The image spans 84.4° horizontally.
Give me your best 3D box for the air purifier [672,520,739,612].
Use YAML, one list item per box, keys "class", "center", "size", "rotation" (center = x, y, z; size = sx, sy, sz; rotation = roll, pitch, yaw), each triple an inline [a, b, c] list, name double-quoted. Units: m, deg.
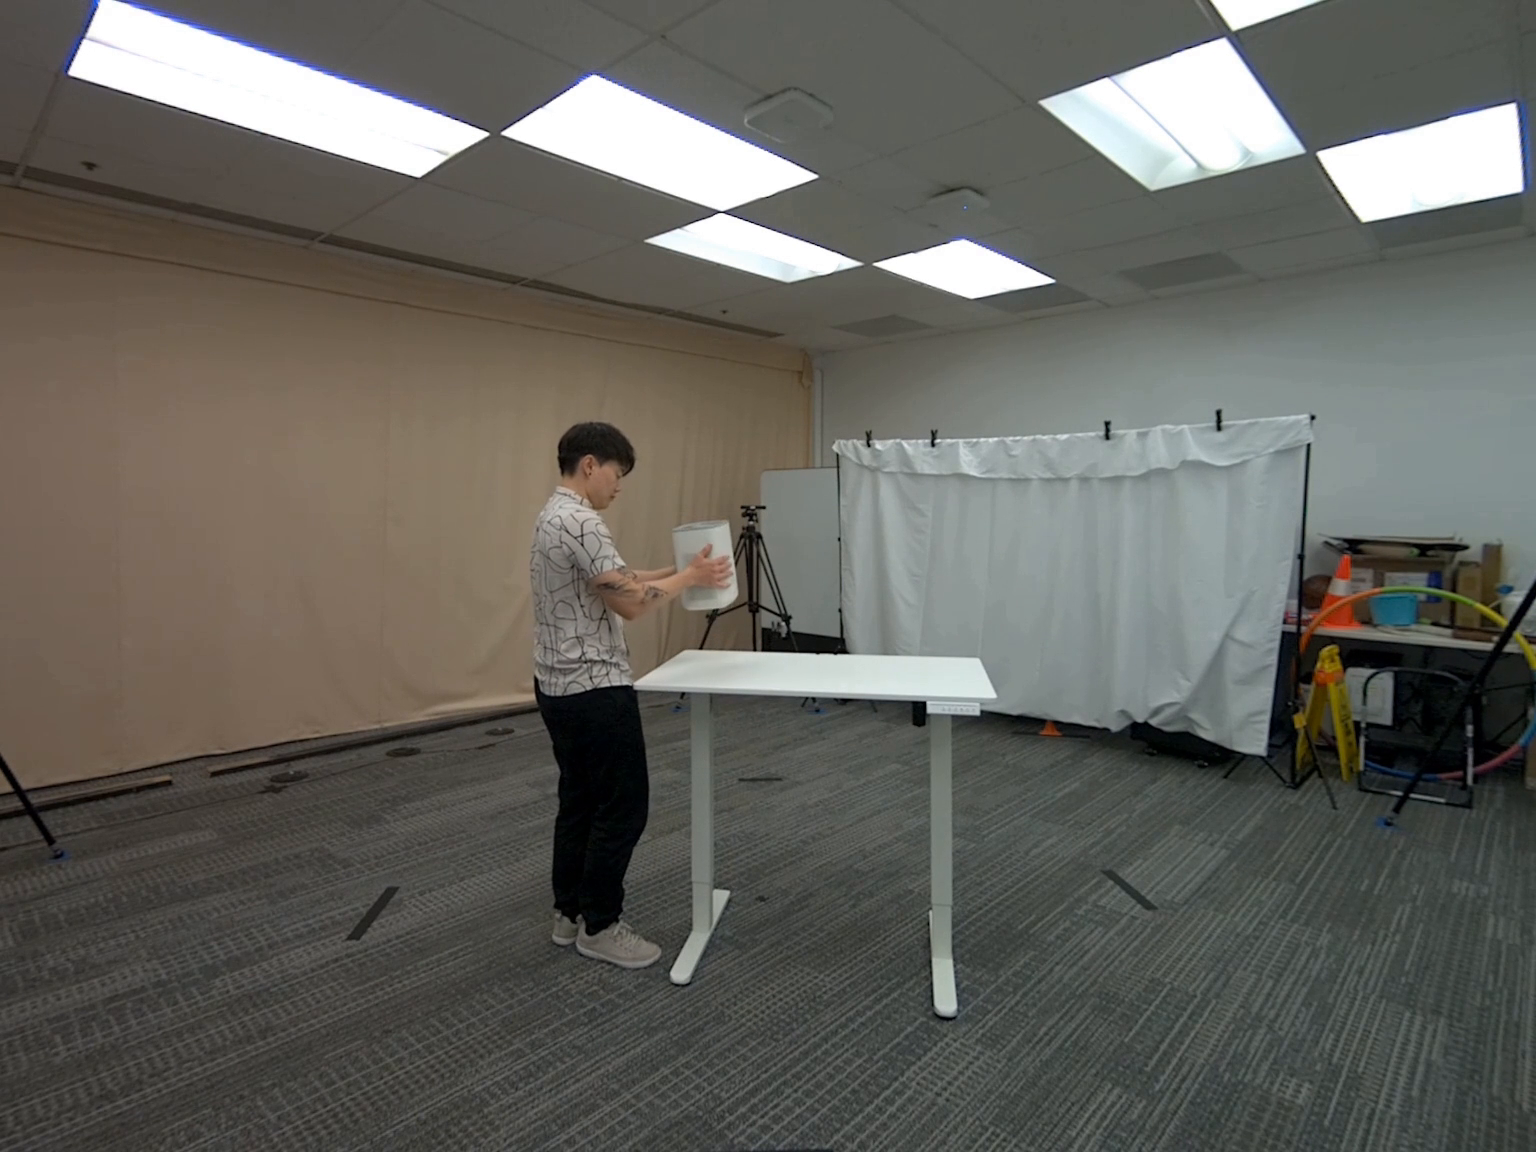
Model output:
- class: "air purifier"
  center: [-0.203, -0.034, 2.697]
  size: [0.174, 0.264, 0.169]
  rotation: [-4, 7, 13]
